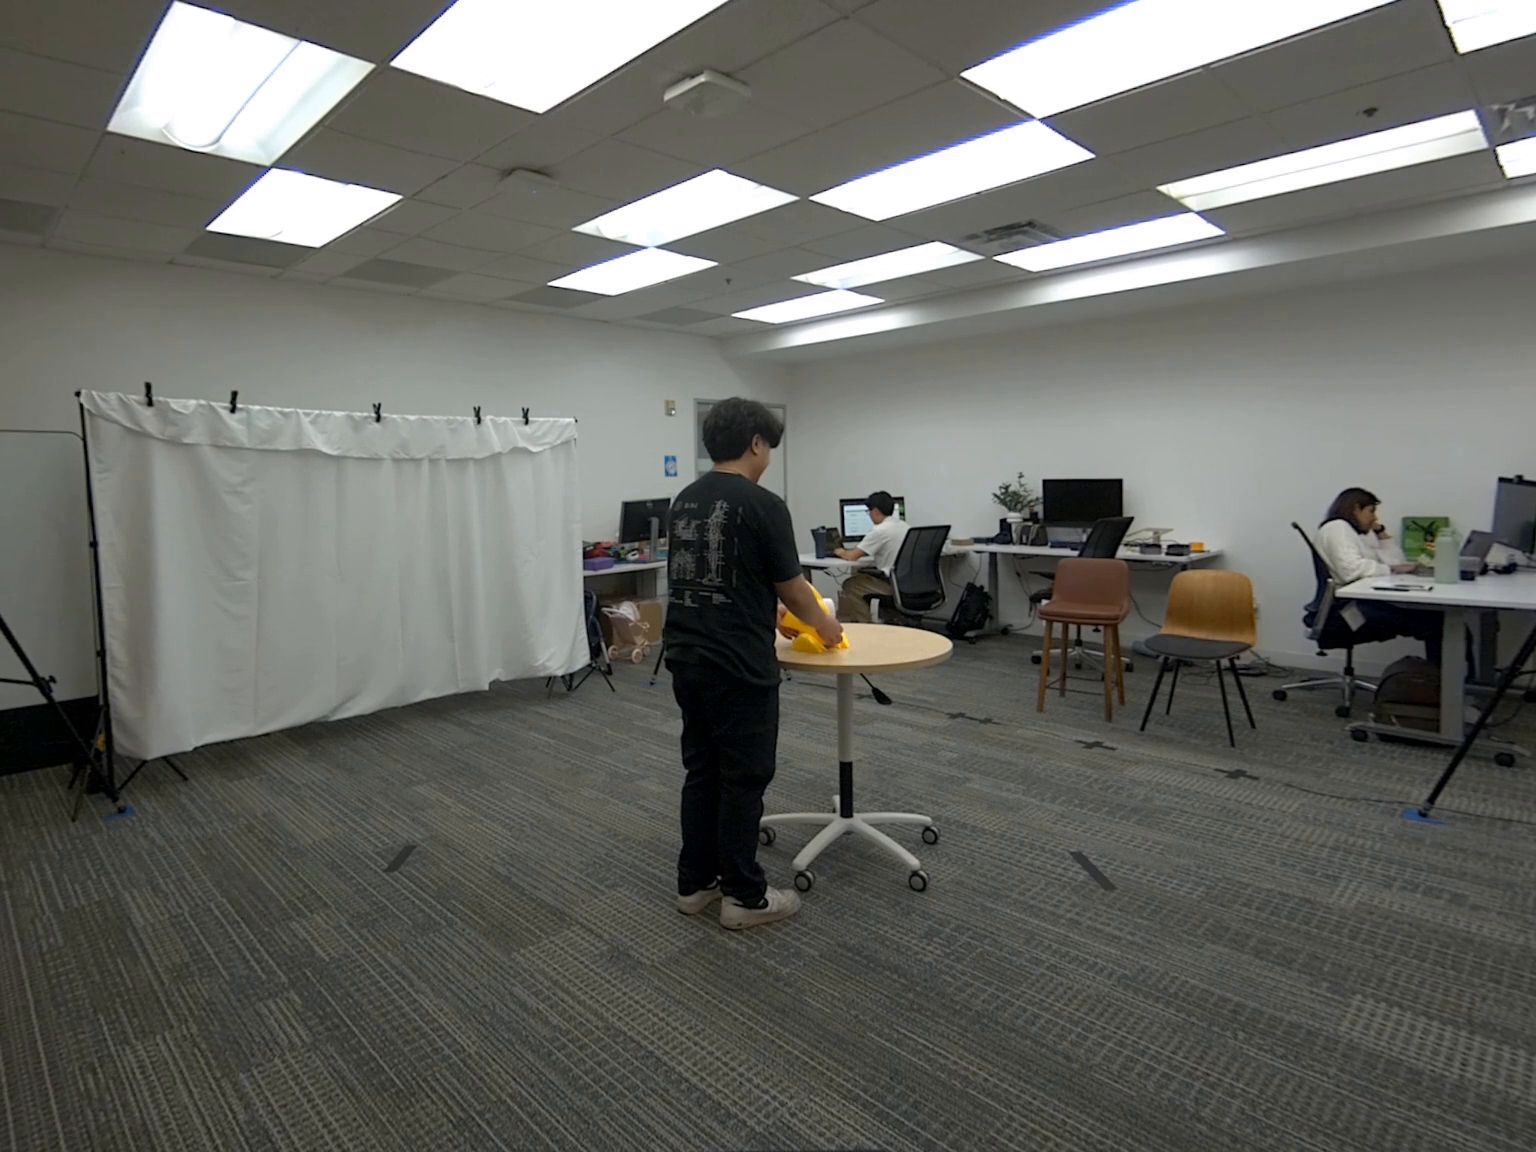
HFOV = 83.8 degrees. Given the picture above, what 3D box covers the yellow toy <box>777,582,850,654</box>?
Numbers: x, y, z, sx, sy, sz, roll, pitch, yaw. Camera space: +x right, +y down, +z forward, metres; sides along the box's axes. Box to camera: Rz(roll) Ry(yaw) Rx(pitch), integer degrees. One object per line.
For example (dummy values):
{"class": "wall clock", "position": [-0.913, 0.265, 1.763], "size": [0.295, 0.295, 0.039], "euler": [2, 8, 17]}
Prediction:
{"class": "yellow toy", "position": [0.187, 0.139, 3.050], "size": [0.199, 0.230, 0.199], "euler": [-5, 6, -37]}
